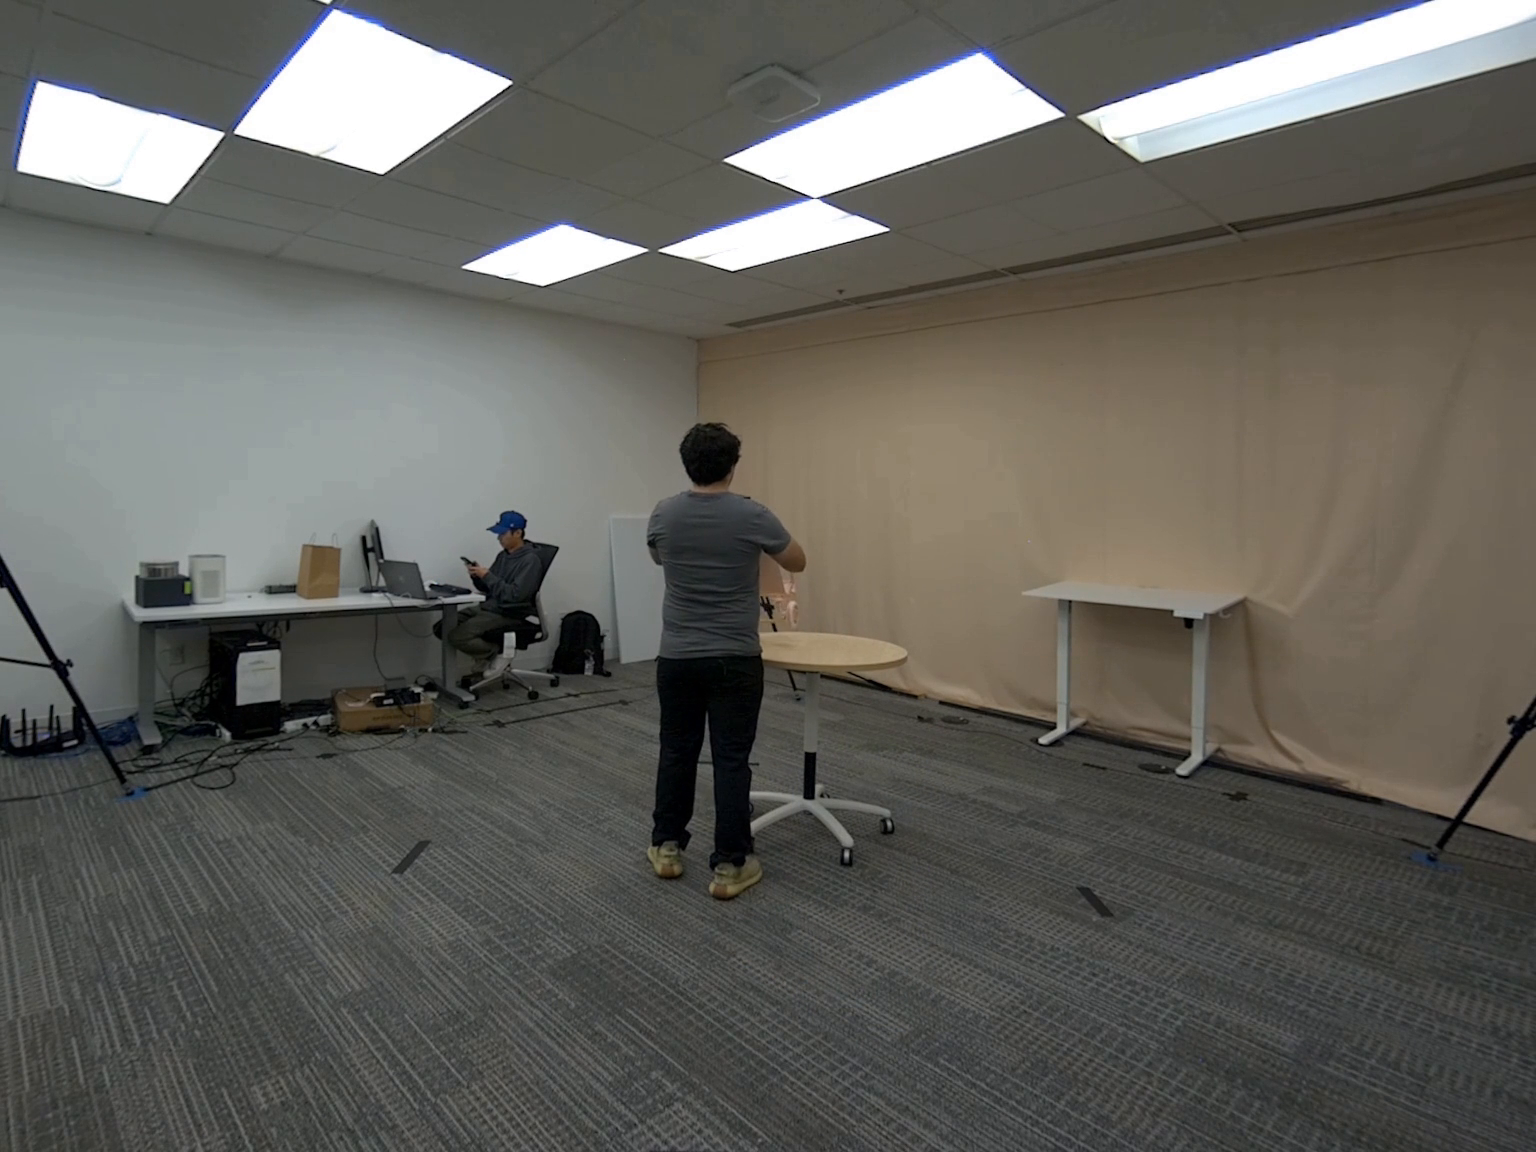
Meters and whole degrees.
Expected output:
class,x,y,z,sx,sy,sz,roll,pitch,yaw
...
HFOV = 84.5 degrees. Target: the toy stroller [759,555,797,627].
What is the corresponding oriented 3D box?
class,x,y,z,sx,sy,sz,roll,pitch,yaw
toy stroller,-0.013,-0.012,3.587,0.286,0.526,0.341,0,24,22
